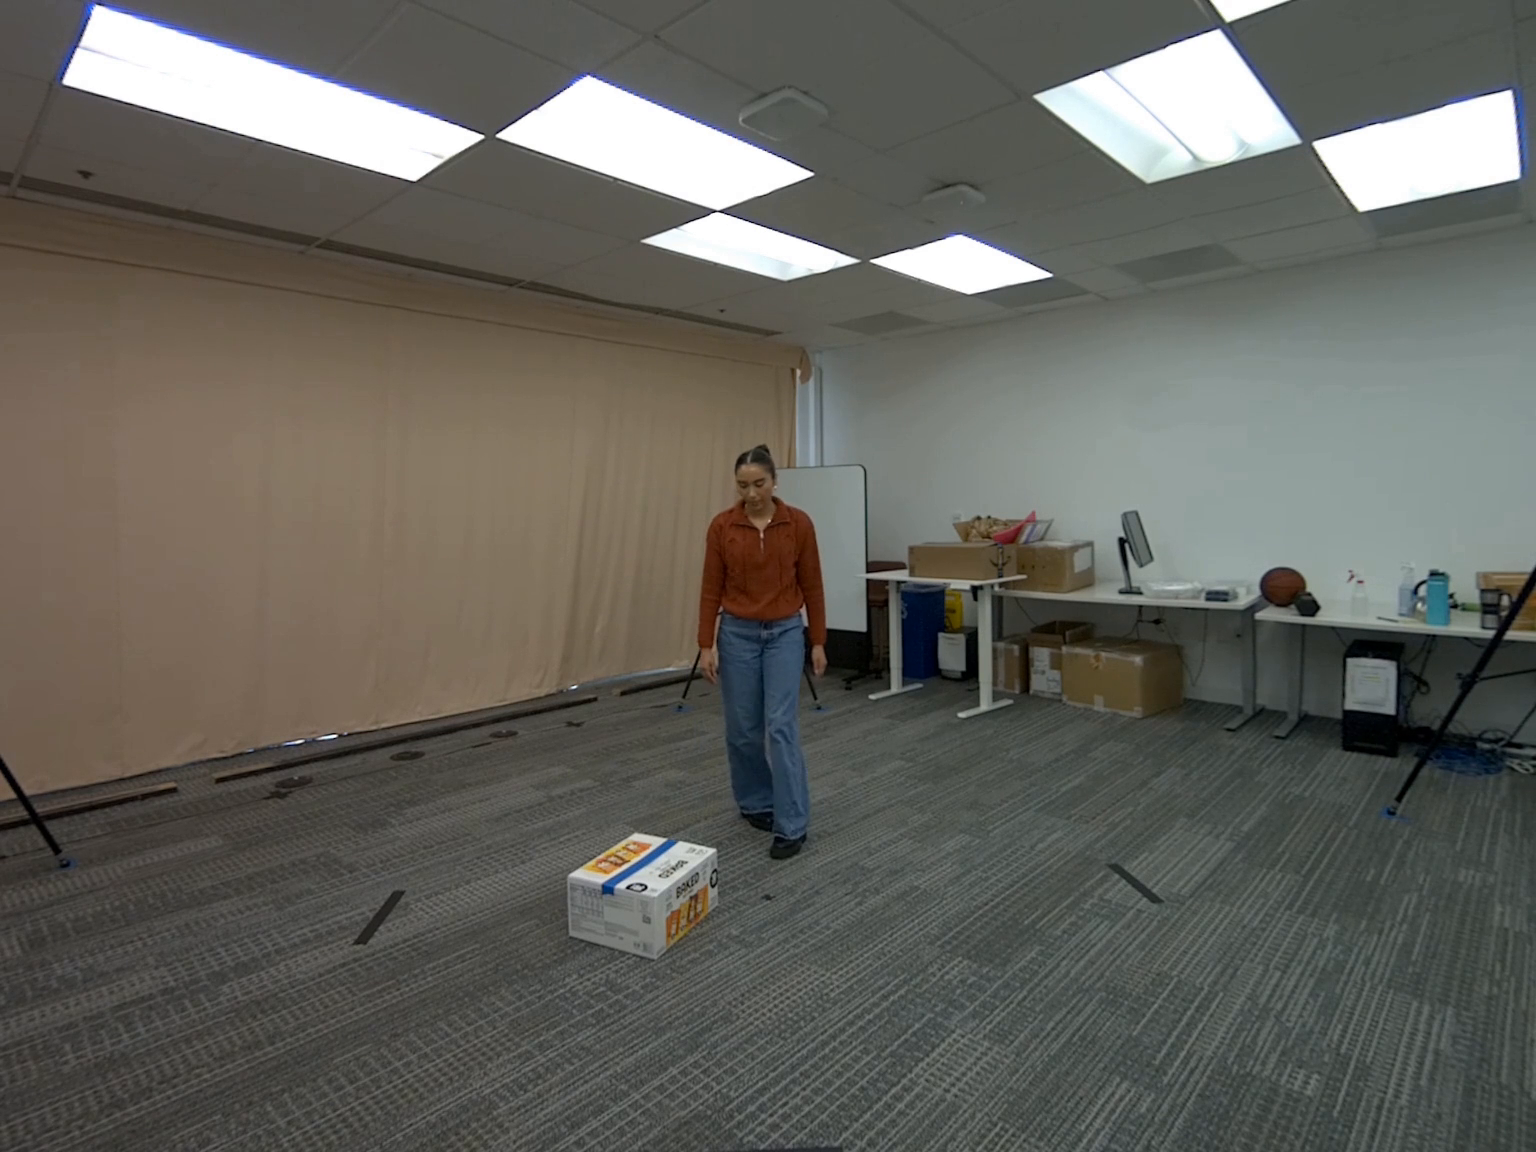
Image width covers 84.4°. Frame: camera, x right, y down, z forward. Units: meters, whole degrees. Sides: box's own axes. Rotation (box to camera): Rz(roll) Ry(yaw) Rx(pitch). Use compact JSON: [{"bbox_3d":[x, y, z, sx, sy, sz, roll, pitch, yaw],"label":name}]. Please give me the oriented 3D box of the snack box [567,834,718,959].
[{"bbox_3d":[-0.413,1.061,2.823,0.349,0.205,0.395,0,4,27],"label":"snack box"}]
